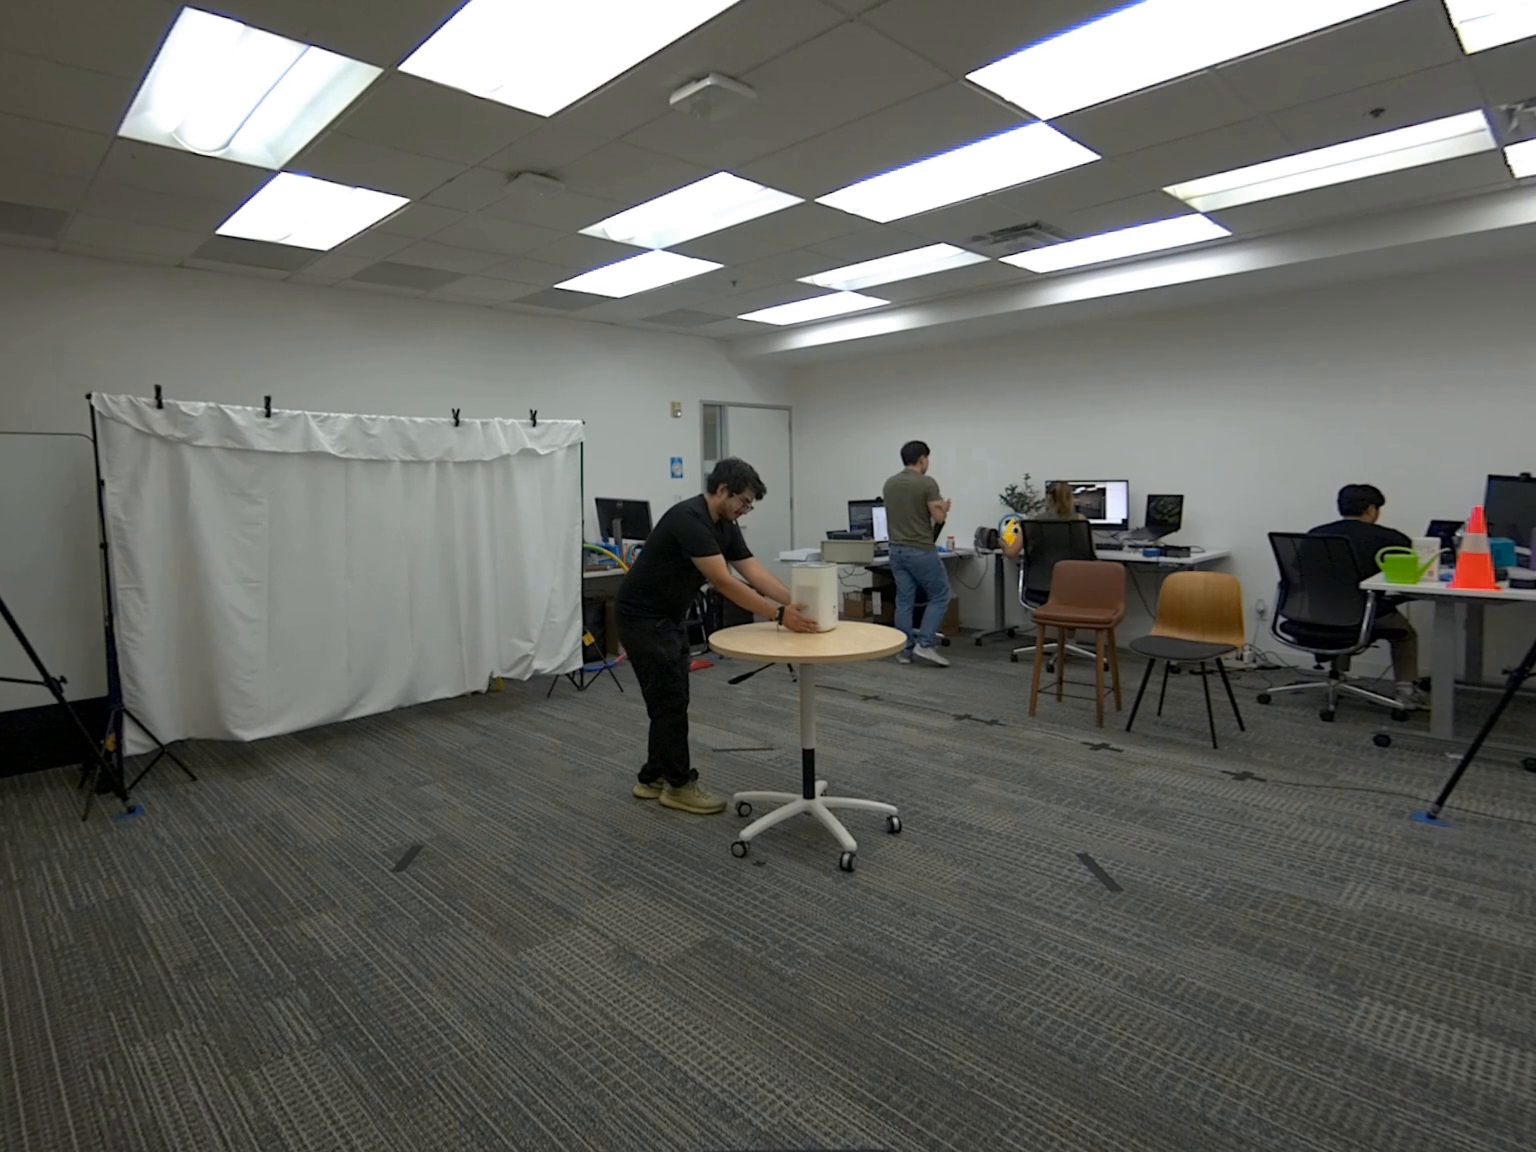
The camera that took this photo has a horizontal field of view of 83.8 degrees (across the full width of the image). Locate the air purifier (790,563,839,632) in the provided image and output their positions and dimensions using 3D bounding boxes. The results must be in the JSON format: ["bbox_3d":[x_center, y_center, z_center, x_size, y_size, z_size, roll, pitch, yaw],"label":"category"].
[{"bbox_3d":[0.193,0.084,3.469,0.175,0.264,0.168,1,4,25],"label":"air purifier"}]
